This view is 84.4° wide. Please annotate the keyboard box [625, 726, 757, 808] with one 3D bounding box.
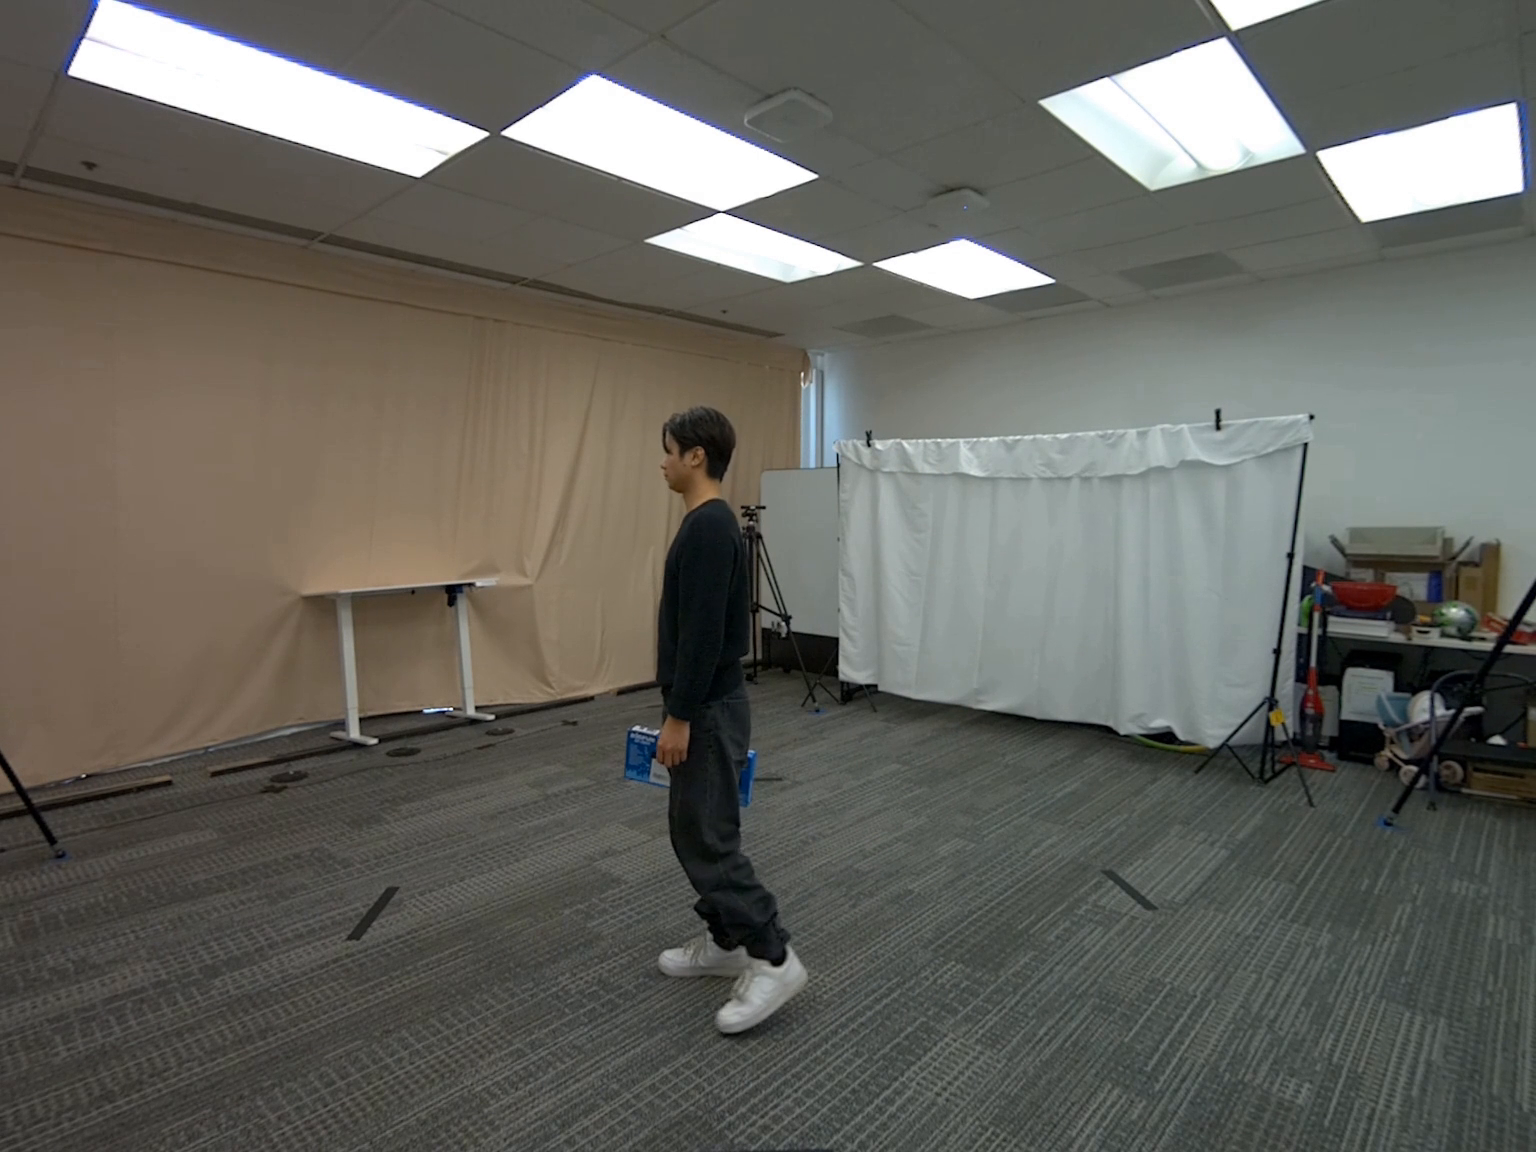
[{"bbox_3d":[-0.257,0.624,2.766,0.446,0.175,0.058,9,8,18],"label":"keyboard box"}]
